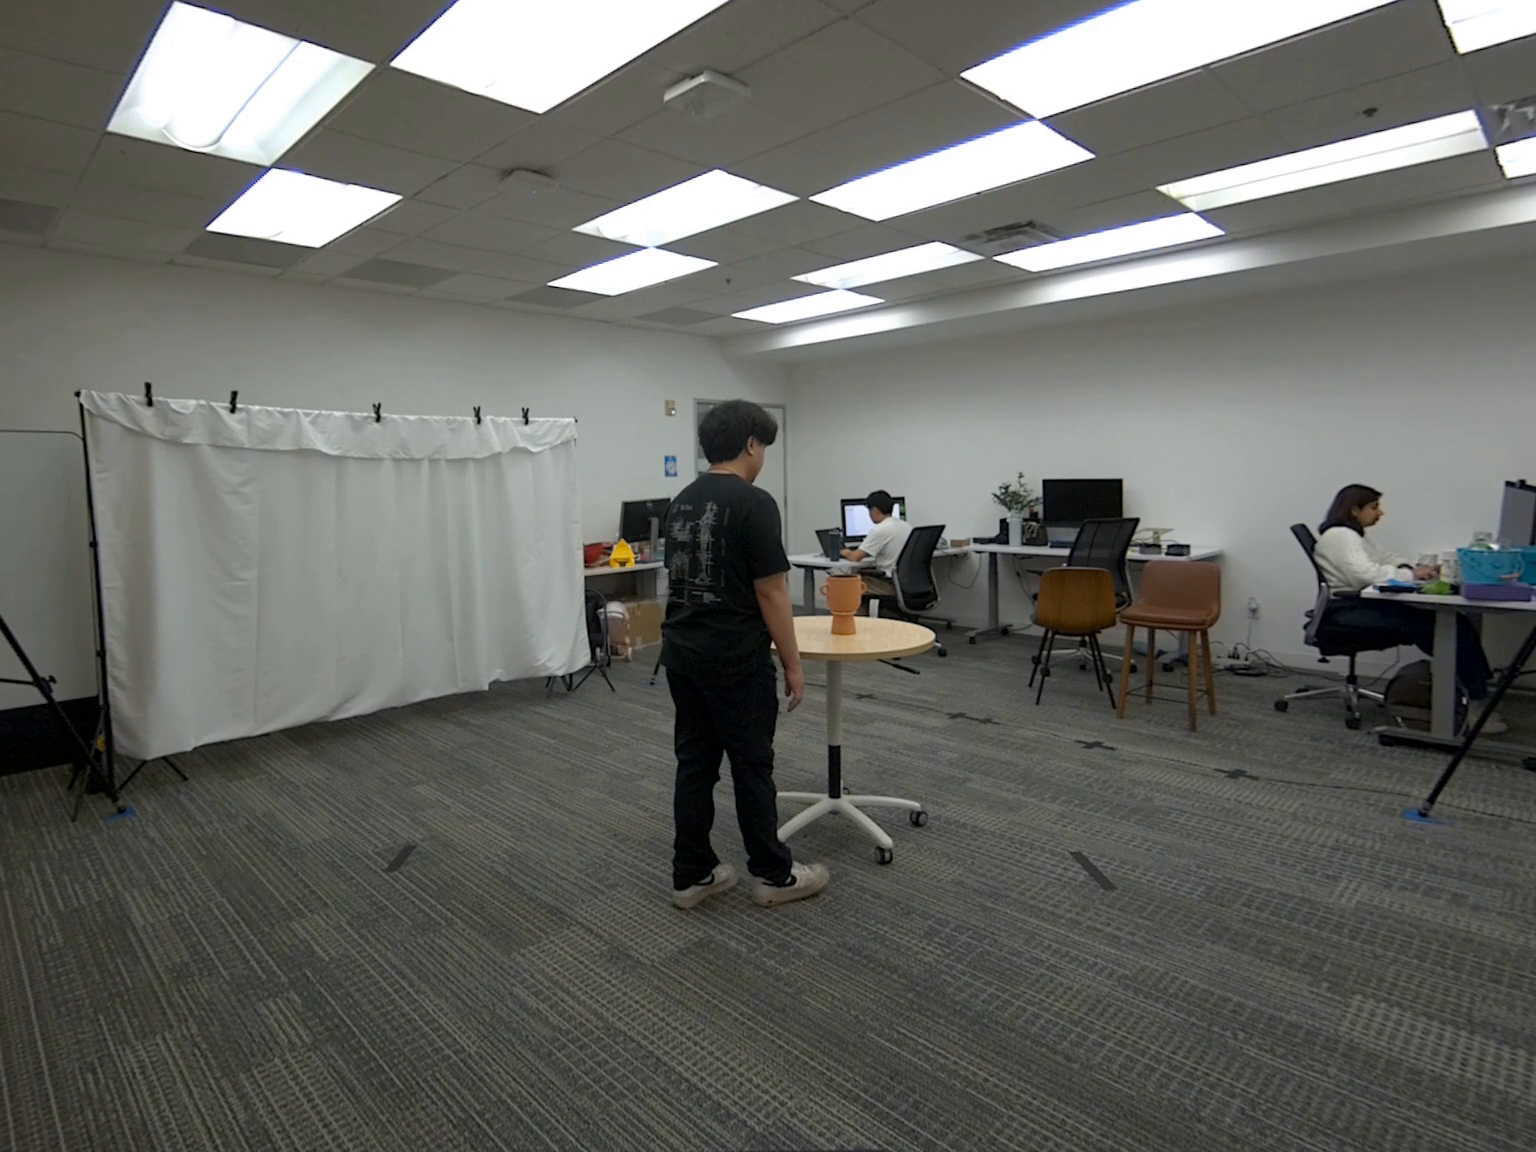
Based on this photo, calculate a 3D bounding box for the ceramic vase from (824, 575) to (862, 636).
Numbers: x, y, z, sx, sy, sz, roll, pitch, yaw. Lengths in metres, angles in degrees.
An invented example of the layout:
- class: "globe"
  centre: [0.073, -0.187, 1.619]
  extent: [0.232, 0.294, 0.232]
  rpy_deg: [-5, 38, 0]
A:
- class: "ceramic vase"
  centre: [0.300, 0.111, 3.307]
  extent: [0.162, 0.219, 0.133]
  rpy_deg: [1, 5, 18]
